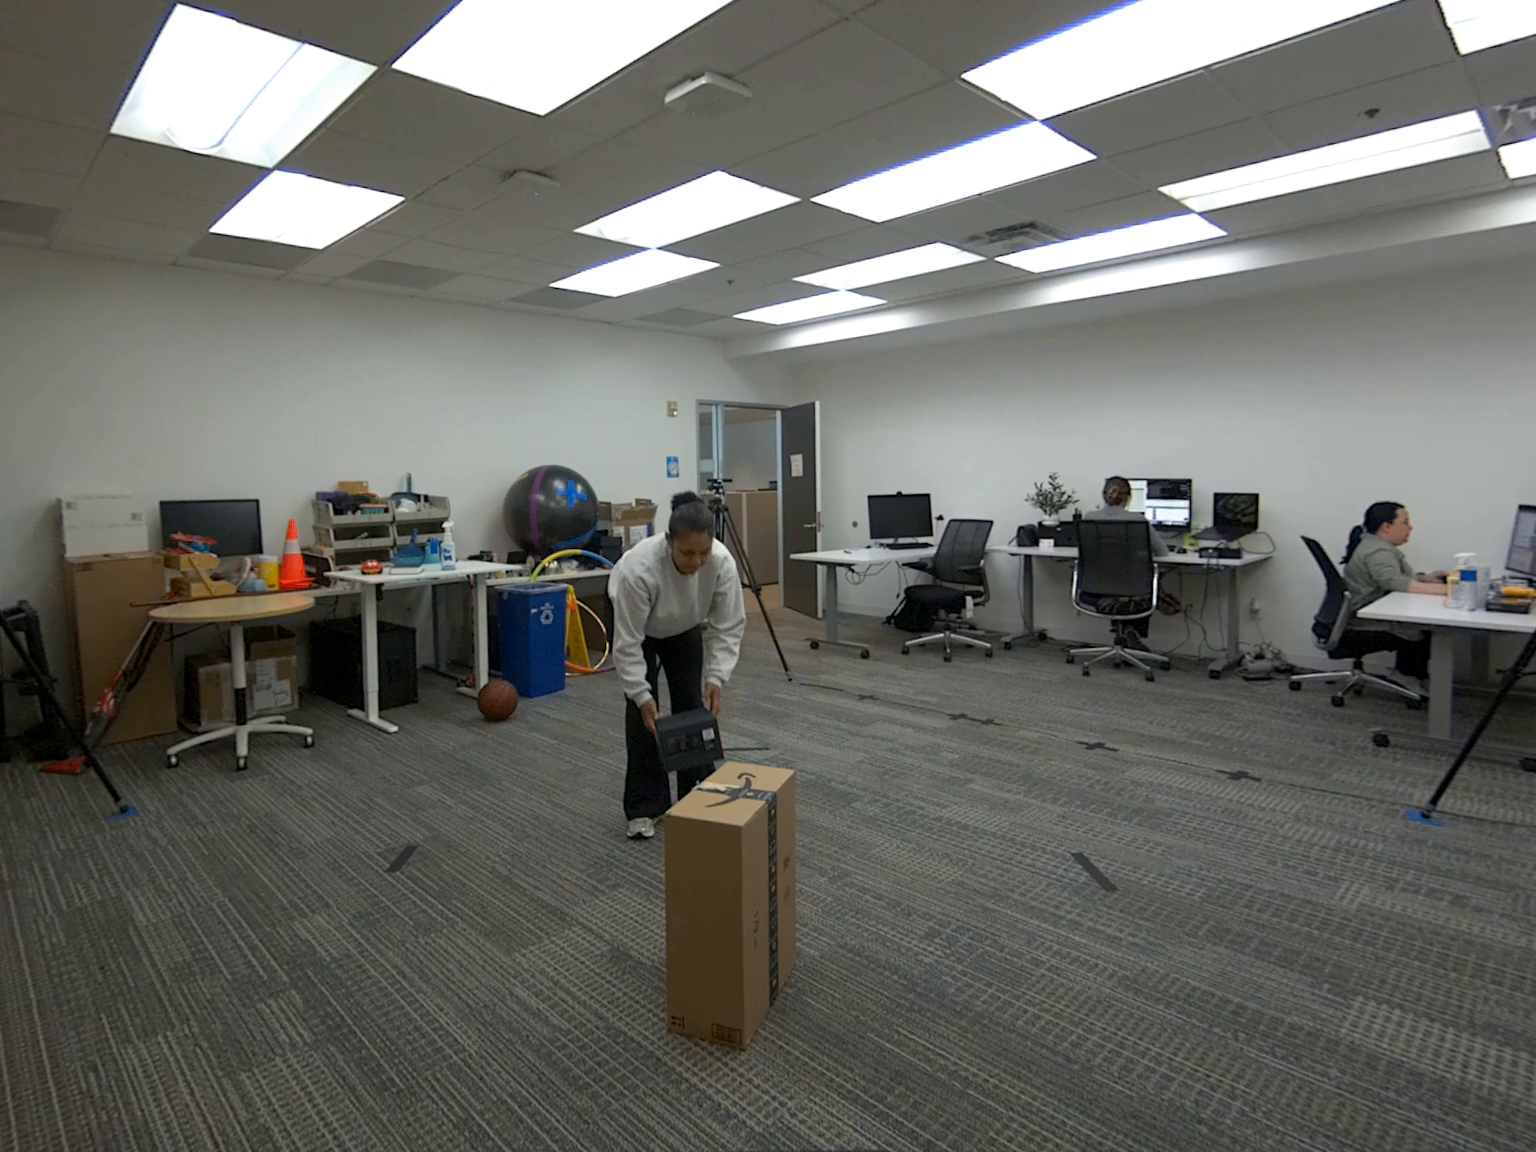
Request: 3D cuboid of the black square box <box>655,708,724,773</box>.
[{"bbox_3d":[-0.296,0.606,3.179,0.215,0.155,0.230,-13,3,-11],"label":"black square box"}]
